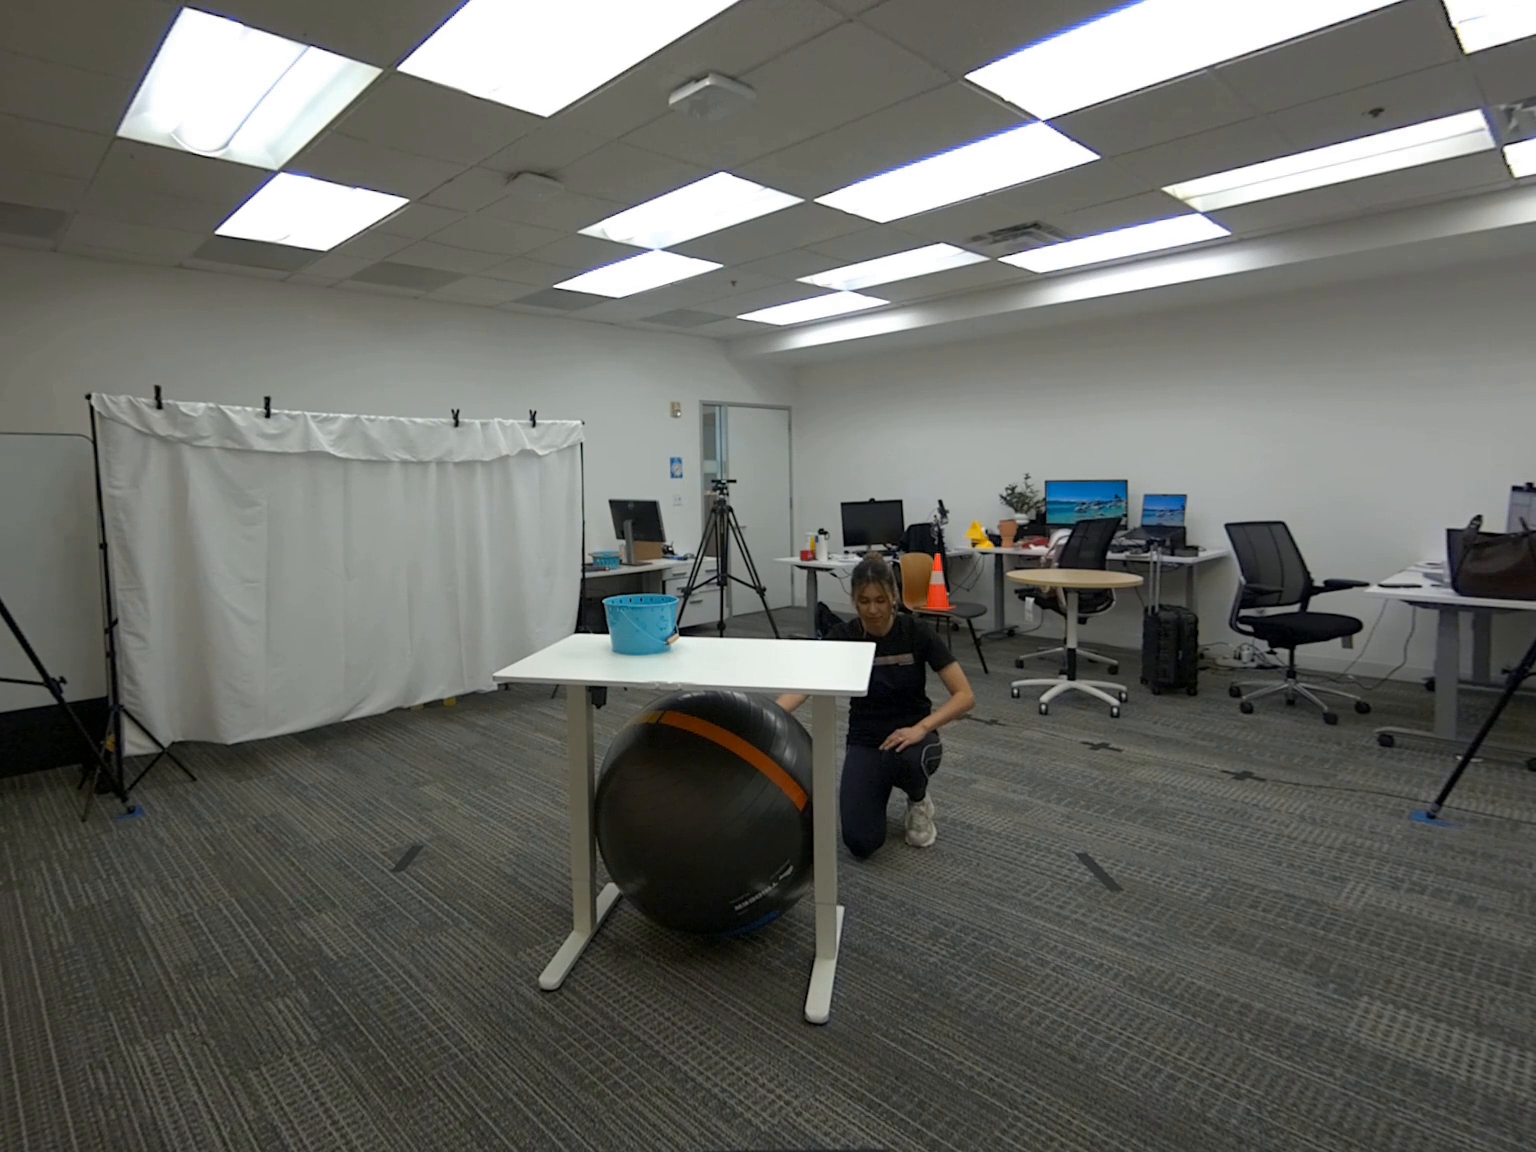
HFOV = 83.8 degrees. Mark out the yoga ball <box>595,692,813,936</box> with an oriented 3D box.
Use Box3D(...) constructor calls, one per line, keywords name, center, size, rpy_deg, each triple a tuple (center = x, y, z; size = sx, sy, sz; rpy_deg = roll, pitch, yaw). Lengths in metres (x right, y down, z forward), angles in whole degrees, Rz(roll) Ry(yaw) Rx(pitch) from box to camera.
Box3D(name="yoga ball", center=(-0.174, 0.748, 2.696), size=(0.757, 0.755, 0.762), rpy_deg=(-1, 5, -2))
